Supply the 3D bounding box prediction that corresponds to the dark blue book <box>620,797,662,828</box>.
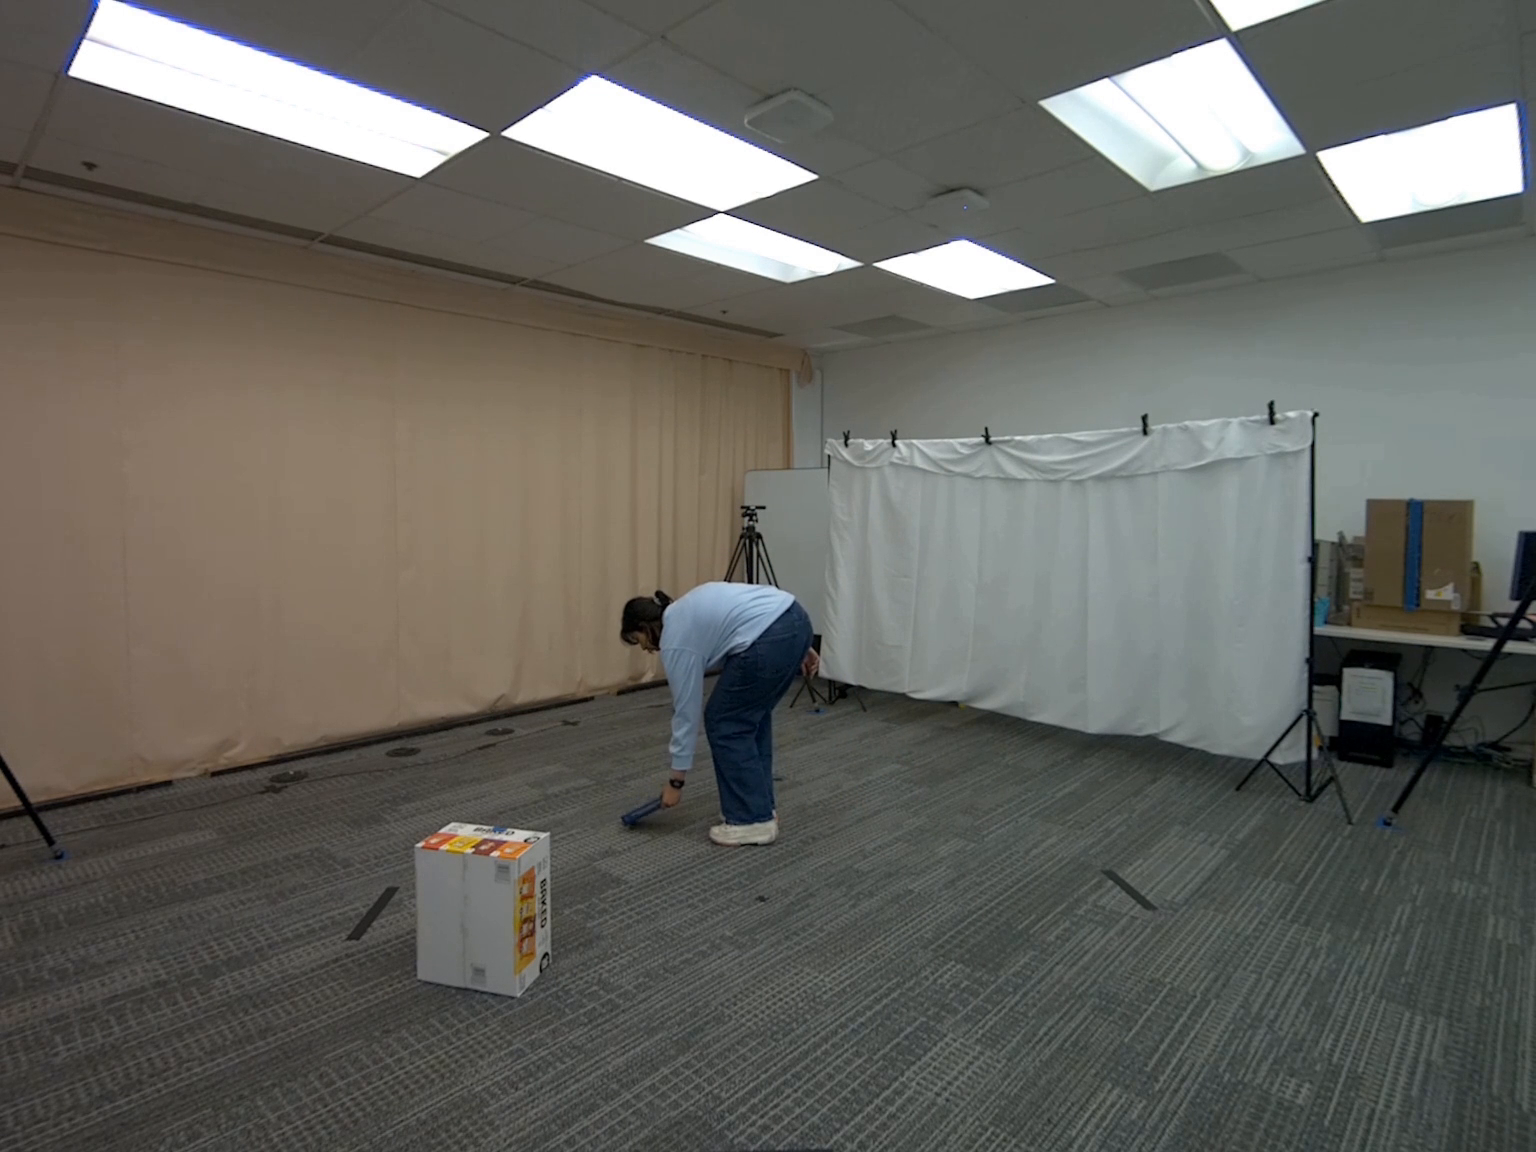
[{"bbox_3d":[-0.512,1.005,3.676,0.245,0.045,0.161,-27,-8,1],"label":"dark blue book"}]
